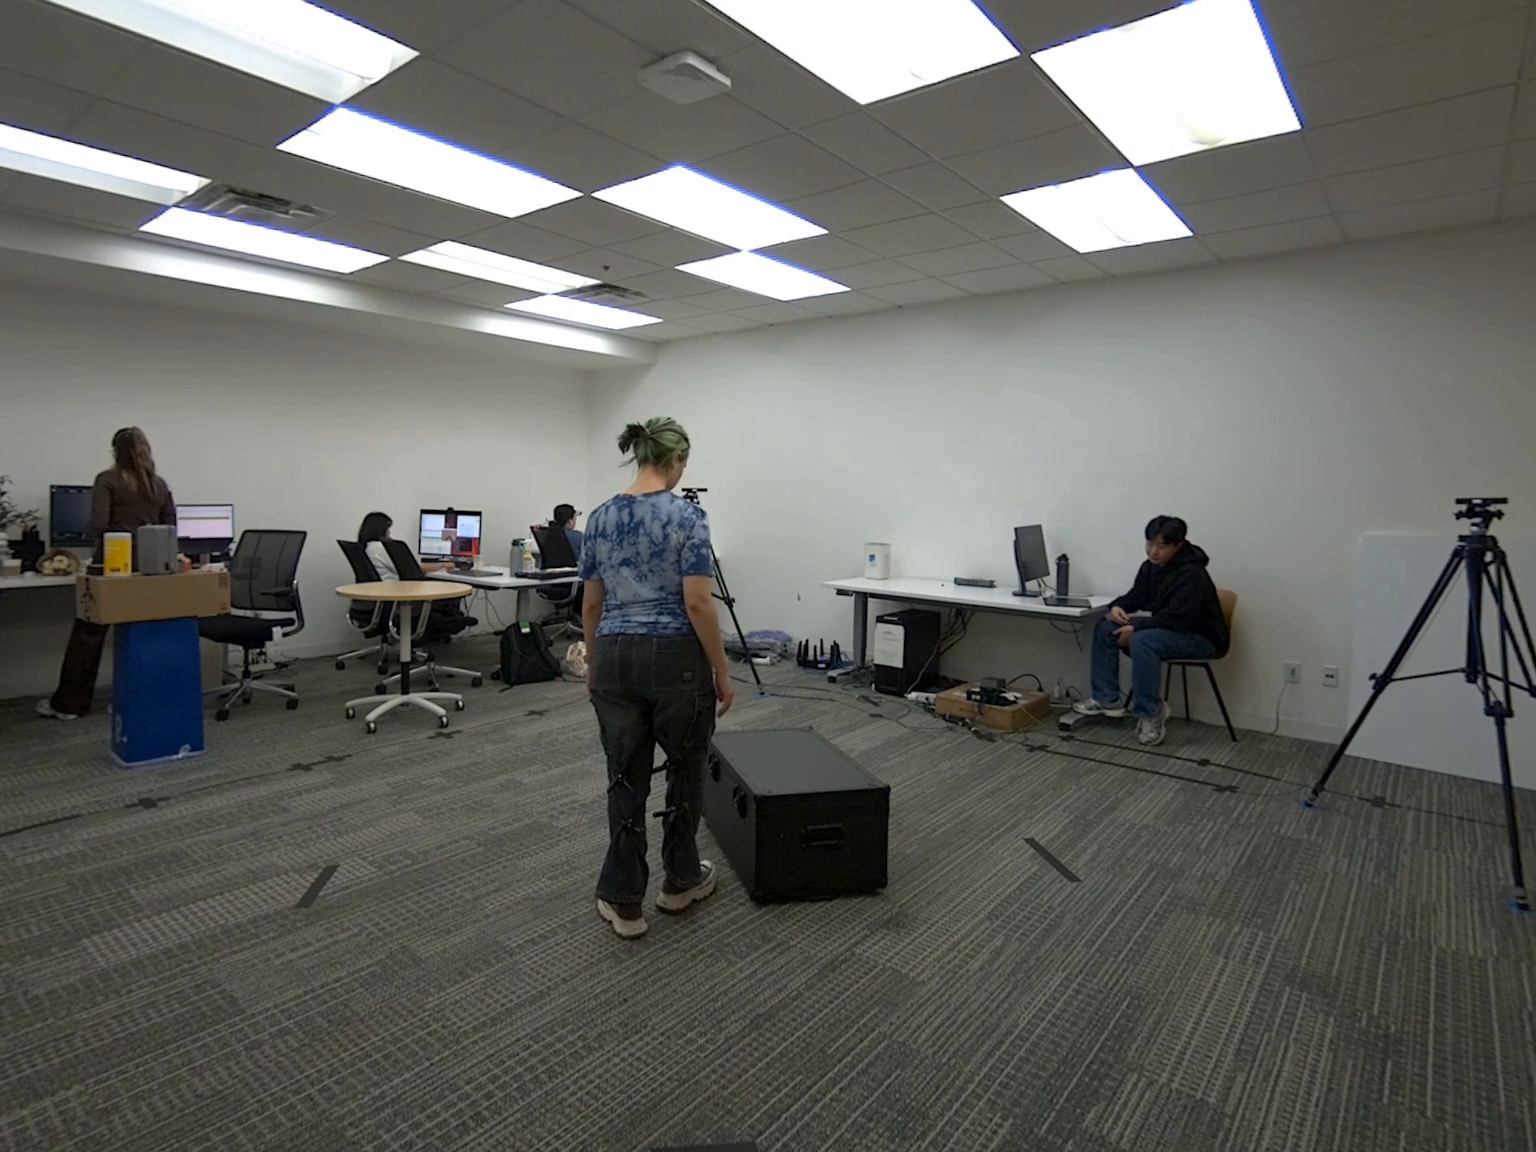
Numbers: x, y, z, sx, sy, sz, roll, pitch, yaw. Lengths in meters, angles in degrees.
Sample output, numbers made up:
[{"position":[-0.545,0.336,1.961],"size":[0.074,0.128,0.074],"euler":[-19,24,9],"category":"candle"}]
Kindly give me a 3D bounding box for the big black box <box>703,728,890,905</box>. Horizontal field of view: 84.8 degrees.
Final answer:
[{"position":[0.069,0.870,3.217],"size":[0.513,0.395,0.879],"euler":[-1,5,-17],"category":"big black box"}]
